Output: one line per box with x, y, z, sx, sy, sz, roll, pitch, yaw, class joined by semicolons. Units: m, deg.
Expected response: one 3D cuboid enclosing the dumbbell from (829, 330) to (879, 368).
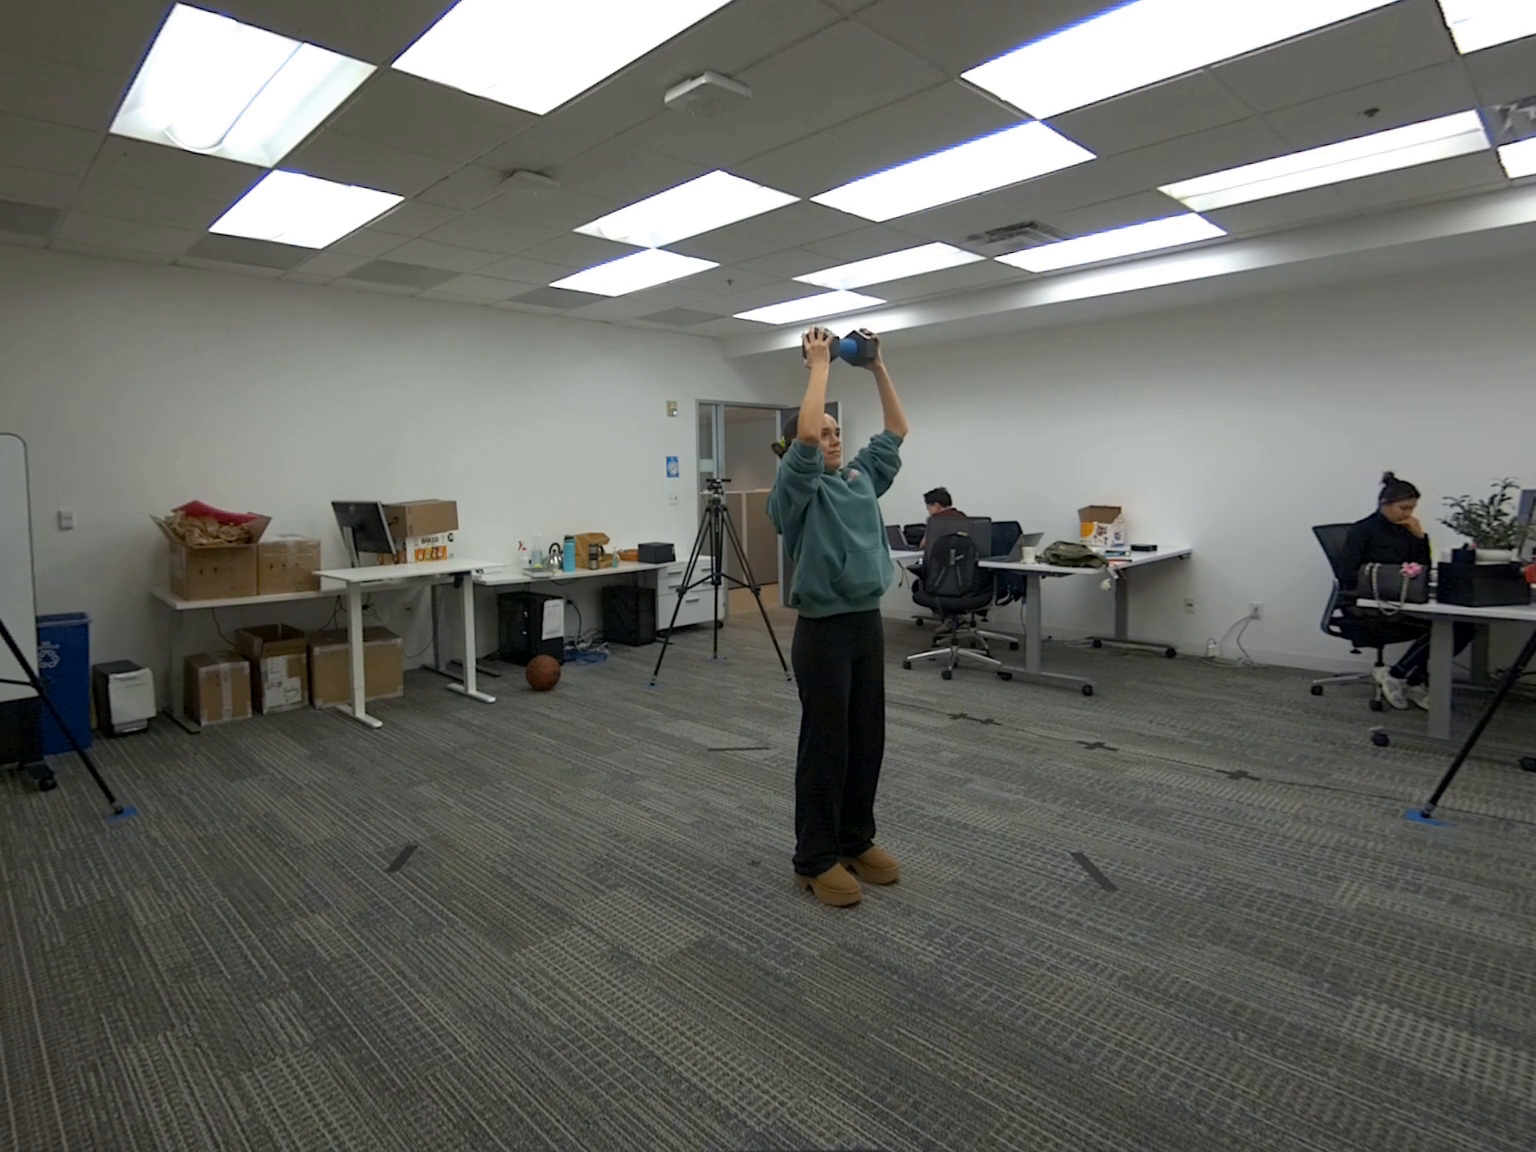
0.243;-0.758;2.829;0.112;0.122;0.287;9;15;41;dumbbell
